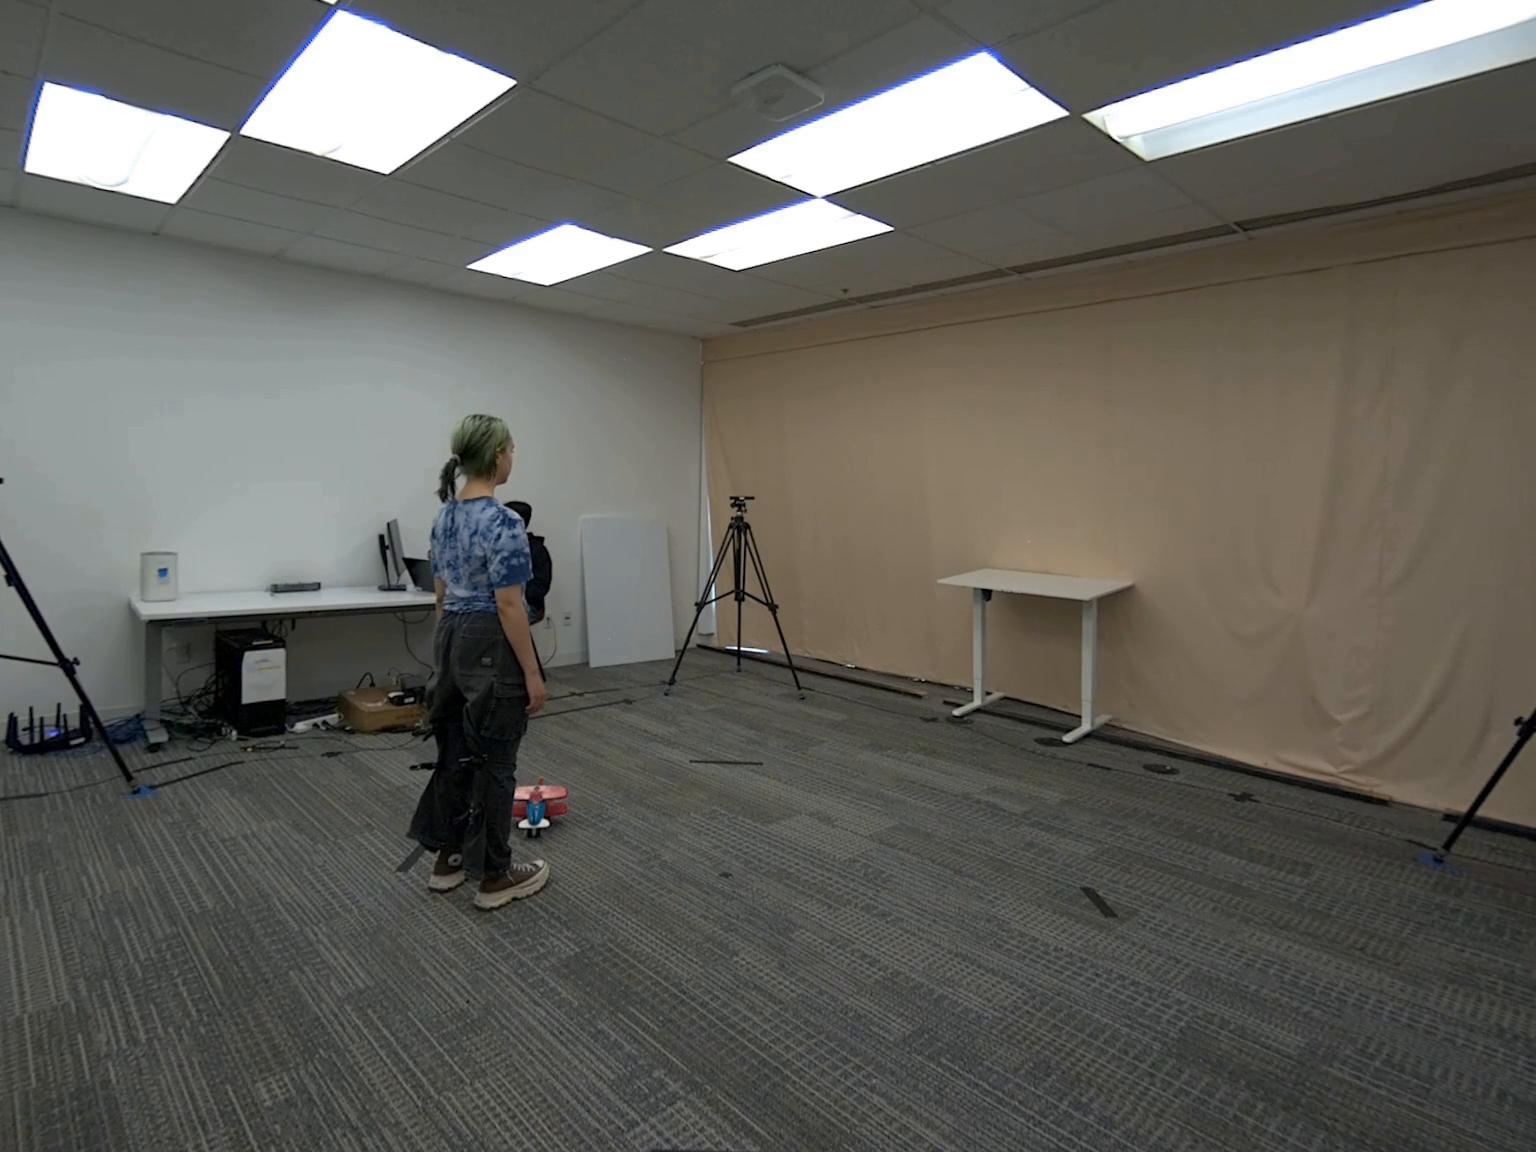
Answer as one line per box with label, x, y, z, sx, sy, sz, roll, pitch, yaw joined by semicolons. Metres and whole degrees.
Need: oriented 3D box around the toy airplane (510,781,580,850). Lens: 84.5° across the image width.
toy airplane;-0.955;0.981;3.501;0.245;0.156;0.265;-2;4;-38
